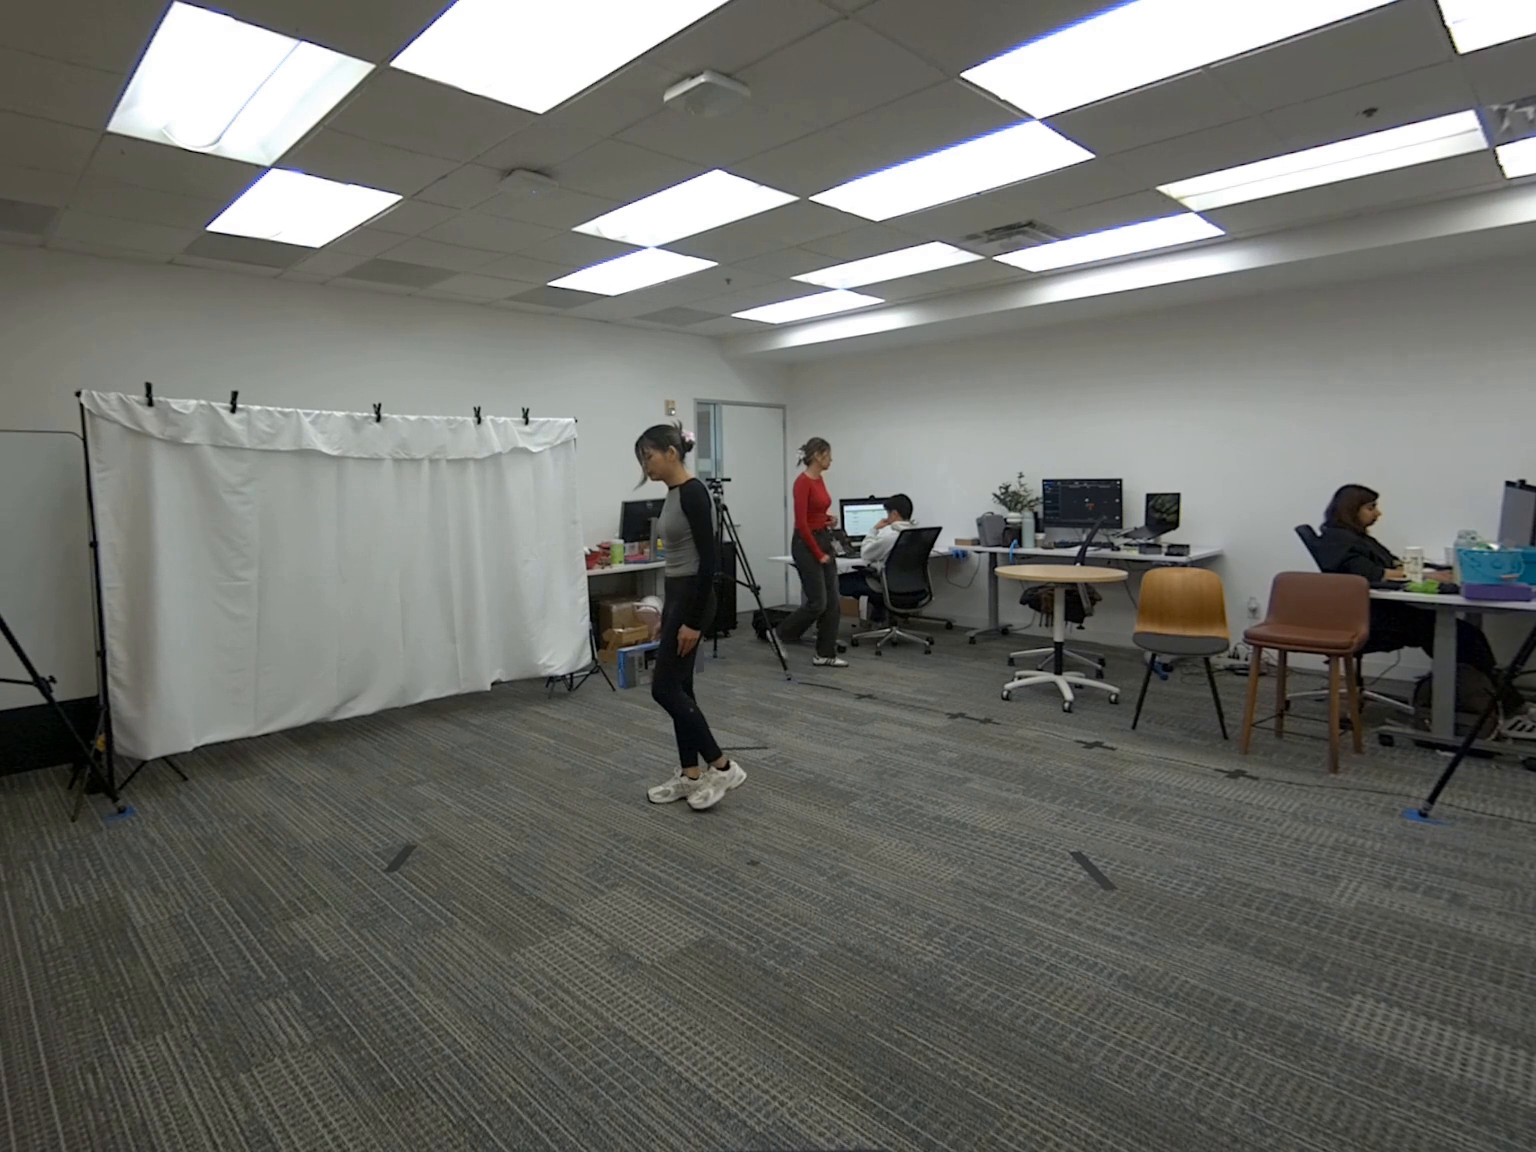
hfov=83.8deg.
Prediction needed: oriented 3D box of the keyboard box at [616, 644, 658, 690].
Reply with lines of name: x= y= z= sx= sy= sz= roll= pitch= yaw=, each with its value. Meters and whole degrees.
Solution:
keyboard box: x=-0.477 y=0.387 z=3.890 sx=0.426 sy=0.175 sz=0.061 roll=-8 pitch=8 yaw=-40
